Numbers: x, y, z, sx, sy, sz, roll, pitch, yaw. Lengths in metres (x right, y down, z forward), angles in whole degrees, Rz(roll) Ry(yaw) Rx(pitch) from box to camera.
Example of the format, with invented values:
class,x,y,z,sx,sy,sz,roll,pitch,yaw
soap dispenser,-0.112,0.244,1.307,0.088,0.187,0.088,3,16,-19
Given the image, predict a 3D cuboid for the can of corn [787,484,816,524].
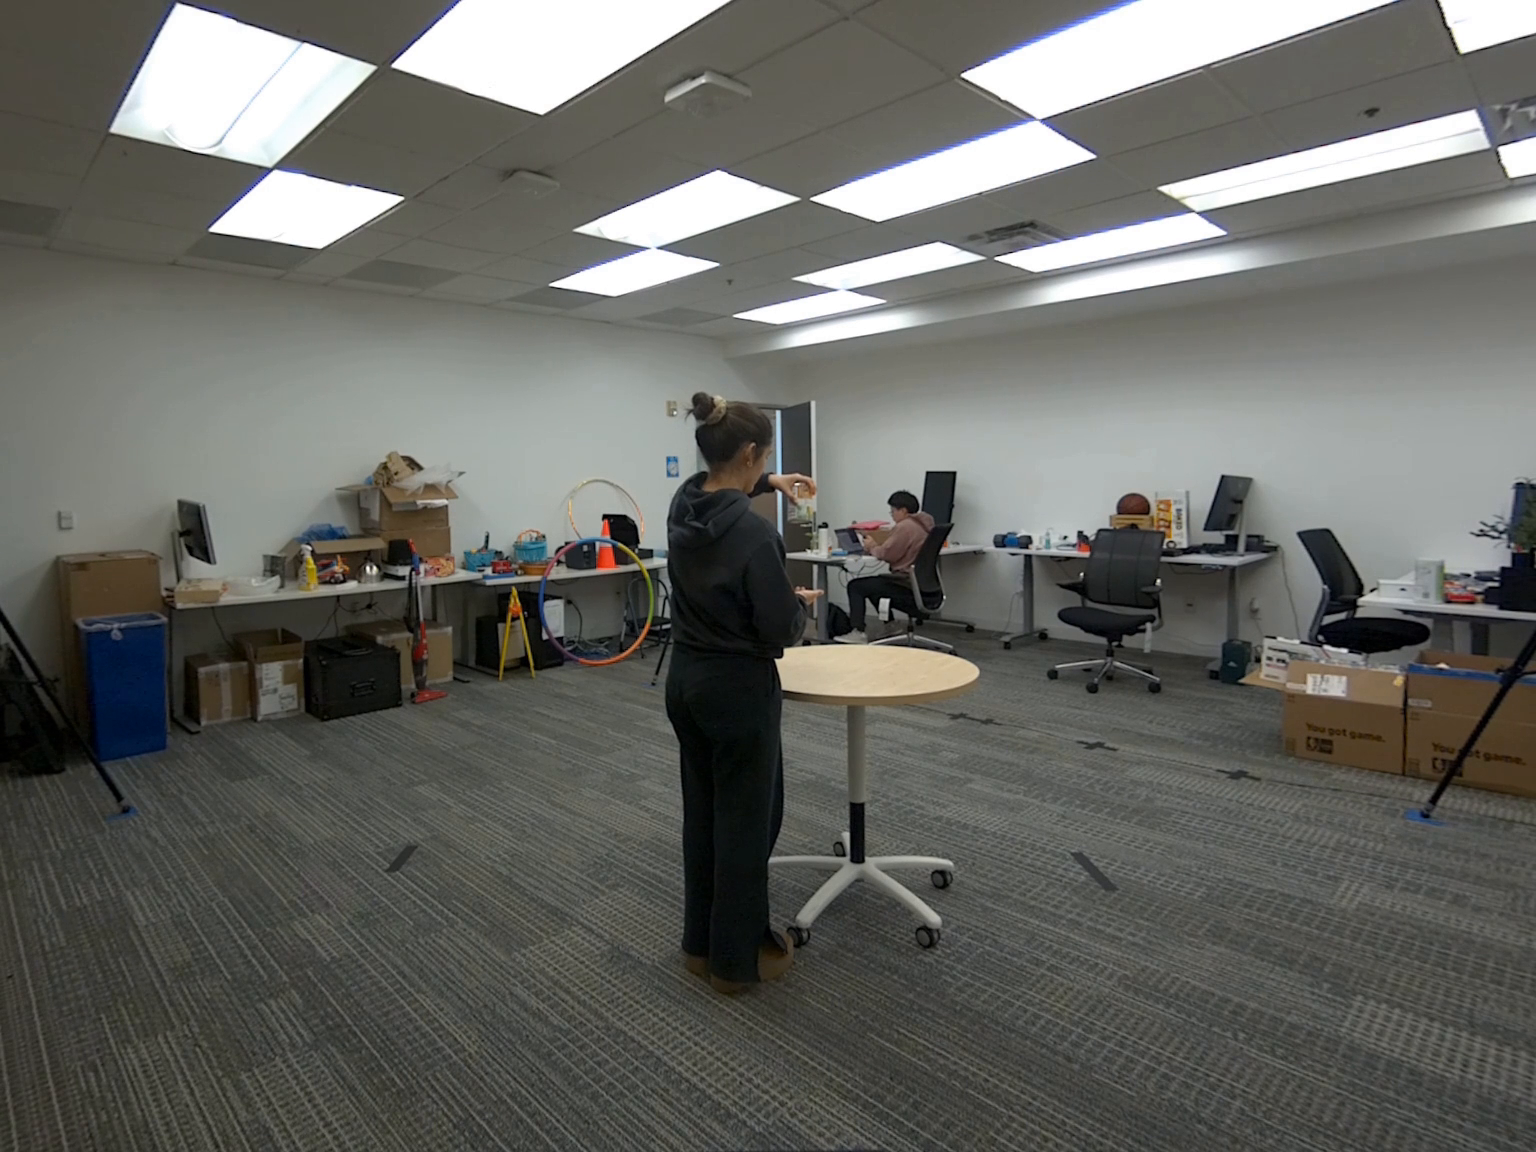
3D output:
class,x,y,z,sx,sy,sz,roll,pitch,yaw
can of corn,0.098,-0.216,2.563,0.074,0.111,0.074,1,-1,-2
